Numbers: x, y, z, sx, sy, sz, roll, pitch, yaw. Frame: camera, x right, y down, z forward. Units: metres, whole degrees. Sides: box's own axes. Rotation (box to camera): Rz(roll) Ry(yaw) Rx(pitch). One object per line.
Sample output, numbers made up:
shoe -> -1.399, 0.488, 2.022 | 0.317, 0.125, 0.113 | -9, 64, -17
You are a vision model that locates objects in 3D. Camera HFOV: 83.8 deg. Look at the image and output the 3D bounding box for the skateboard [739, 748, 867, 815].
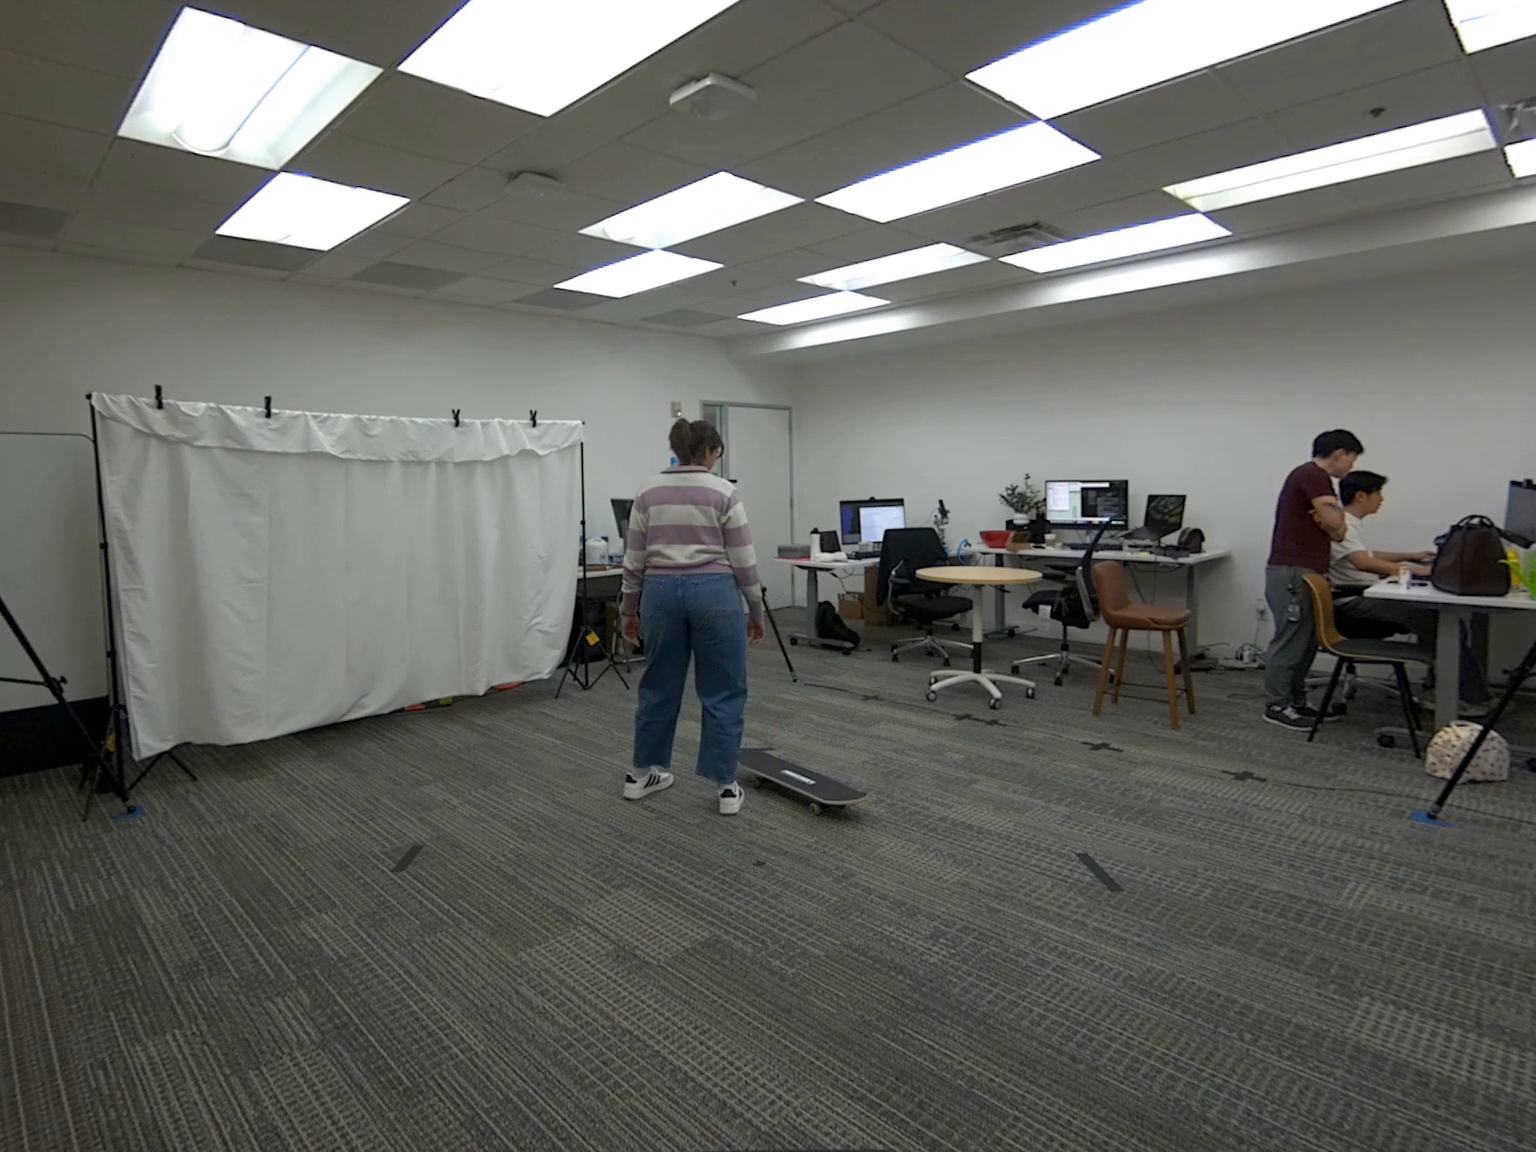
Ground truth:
skateboard -> 0.136, 0.915, 3.751 | 0.189, 0.110, 0.809 | -6, 8, -37
